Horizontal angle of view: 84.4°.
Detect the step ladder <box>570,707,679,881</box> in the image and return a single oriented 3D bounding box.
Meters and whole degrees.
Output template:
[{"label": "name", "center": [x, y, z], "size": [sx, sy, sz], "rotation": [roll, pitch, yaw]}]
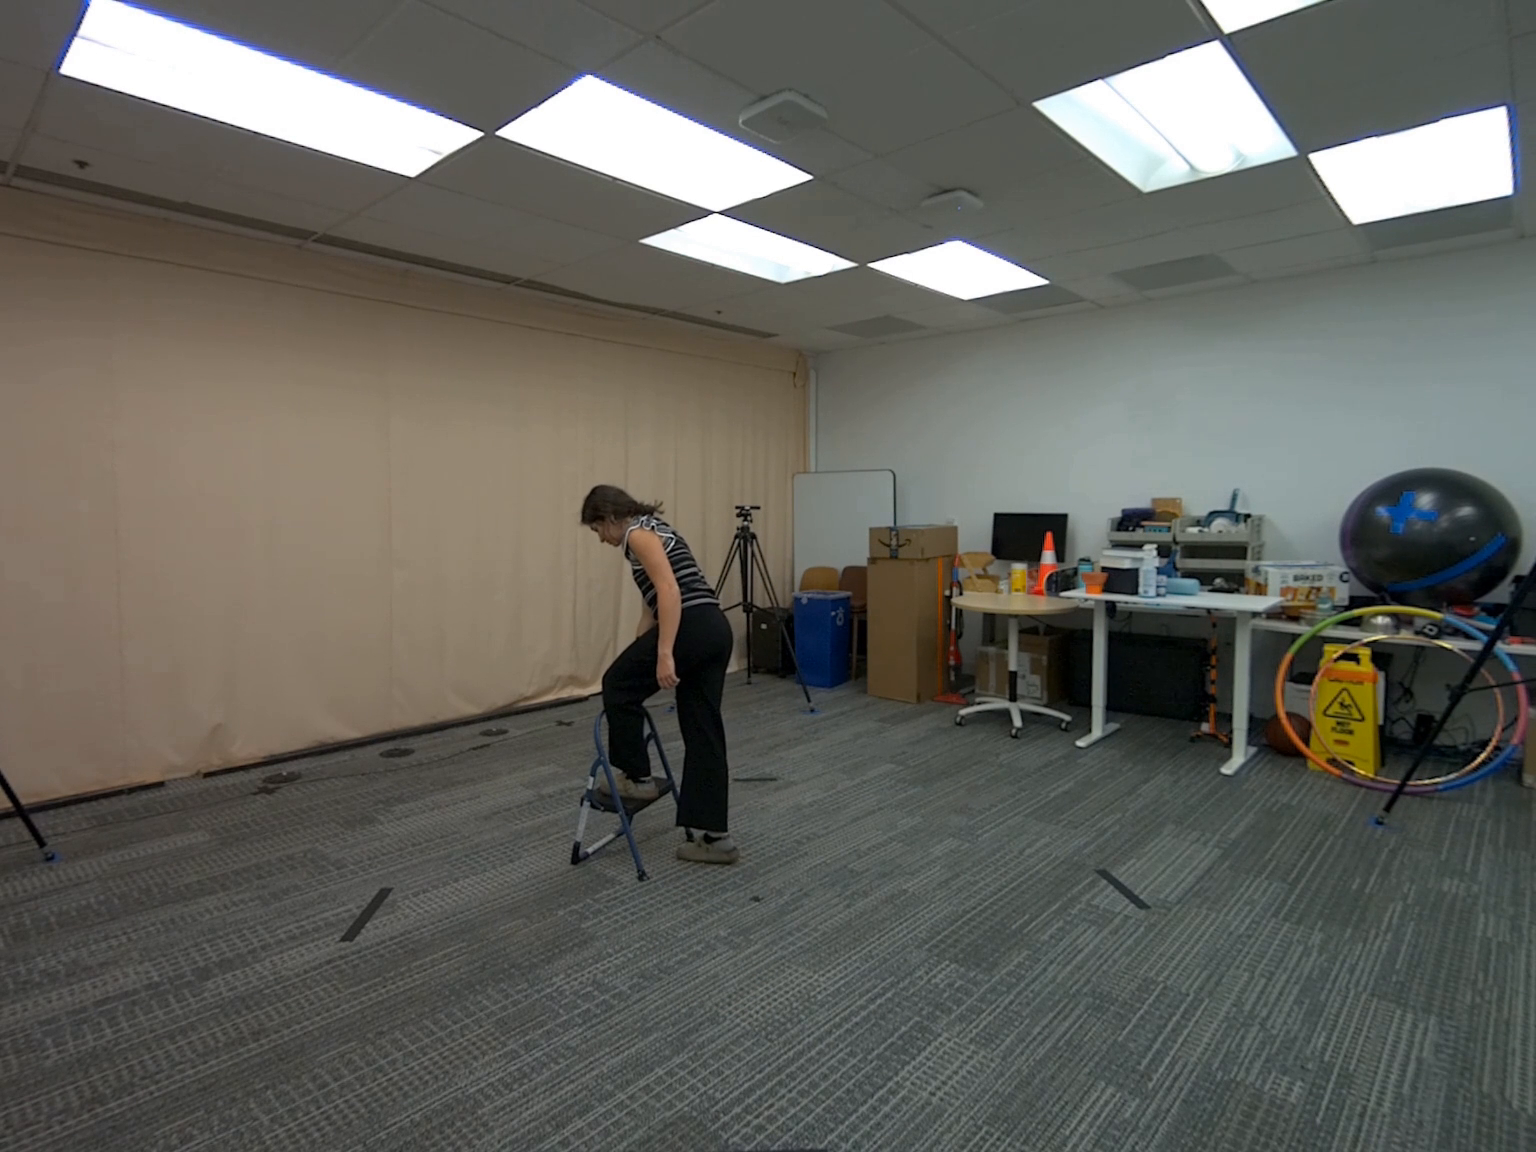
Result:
[{"label": "step ladder", "center": [-0.539, 0.813, 3.382], "size": [0.358, 0.605, 0.421], "rotation": [0, 3, 23]}]
